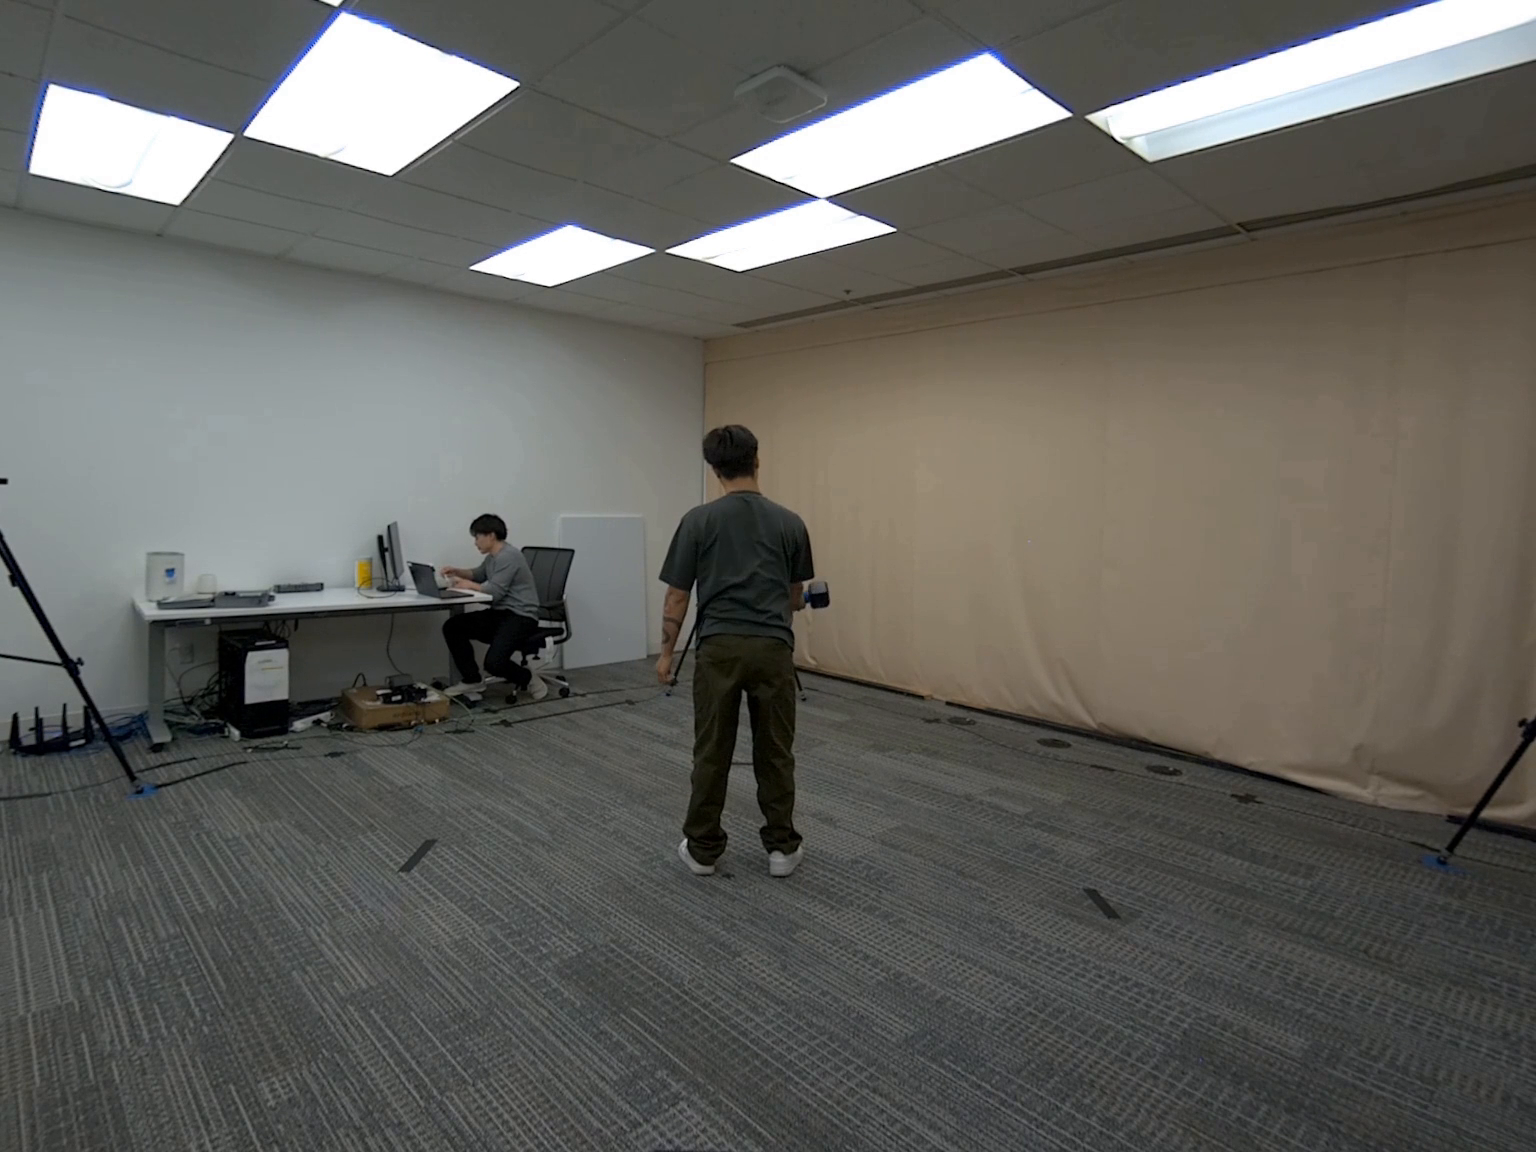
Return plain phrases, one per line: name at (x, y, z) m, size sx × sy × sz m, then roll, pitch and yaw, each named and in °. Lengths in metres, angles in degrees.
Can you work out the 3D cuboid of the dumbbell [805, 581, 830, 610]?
dumbbell at (0.106, 0.098, 3.593) m, size 0.293 × 0.126 × 0.106 m, roll -8°, pitch -40°, yaw 0°
